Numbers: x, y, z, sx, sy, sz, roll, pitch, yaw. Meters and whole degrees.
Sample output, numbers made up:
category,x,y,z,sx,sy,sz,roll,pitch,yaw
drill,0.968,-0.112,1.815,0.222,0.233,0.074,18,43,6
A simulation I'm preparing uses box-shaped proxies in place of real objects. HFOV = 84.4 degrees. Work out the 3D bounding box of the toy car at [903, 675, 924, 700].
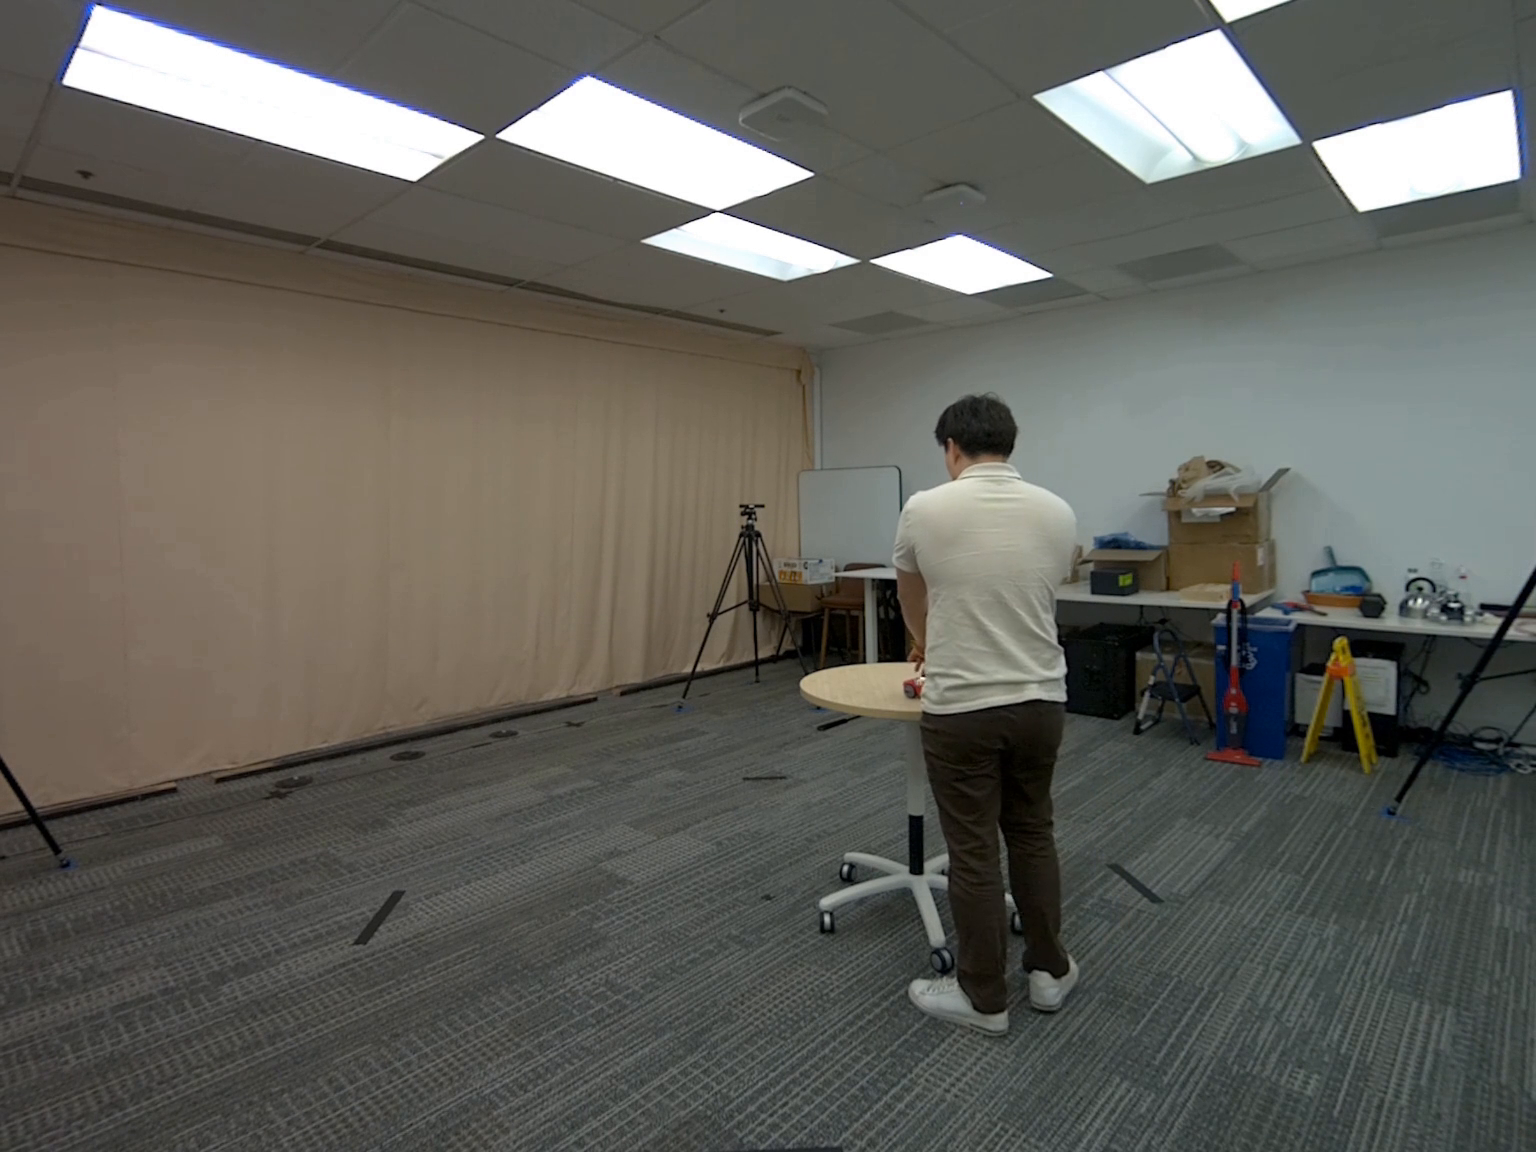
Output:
category,x,y,z,sx,sy,sz,roll,pitch,yaw
toy car,0.556,0.350,2.568,0.126,0.083,0.261,-5,-4,-45
